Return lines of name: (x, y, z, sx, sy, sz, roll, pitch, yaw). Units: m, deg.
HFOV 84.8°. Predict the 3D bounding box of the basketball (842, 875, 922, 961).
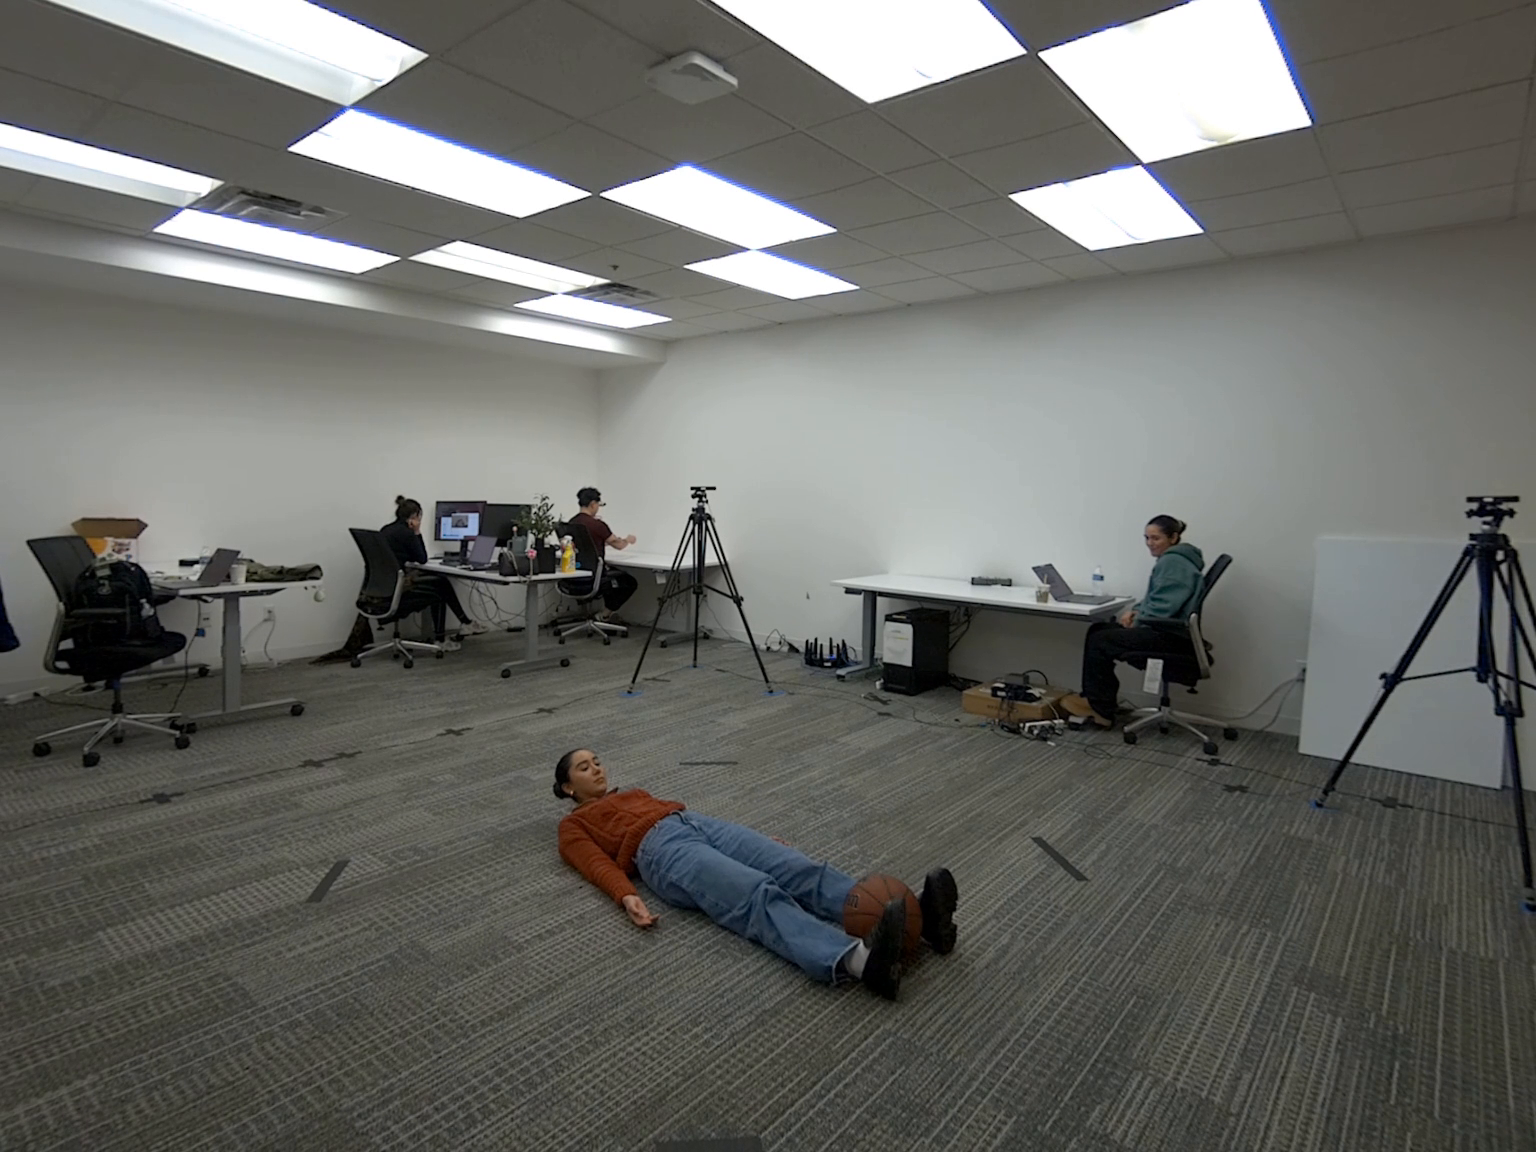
basketball: (0.334, 1.019, 2.541, 0.236, 0.235, 0.237, 1, 4, -2)
